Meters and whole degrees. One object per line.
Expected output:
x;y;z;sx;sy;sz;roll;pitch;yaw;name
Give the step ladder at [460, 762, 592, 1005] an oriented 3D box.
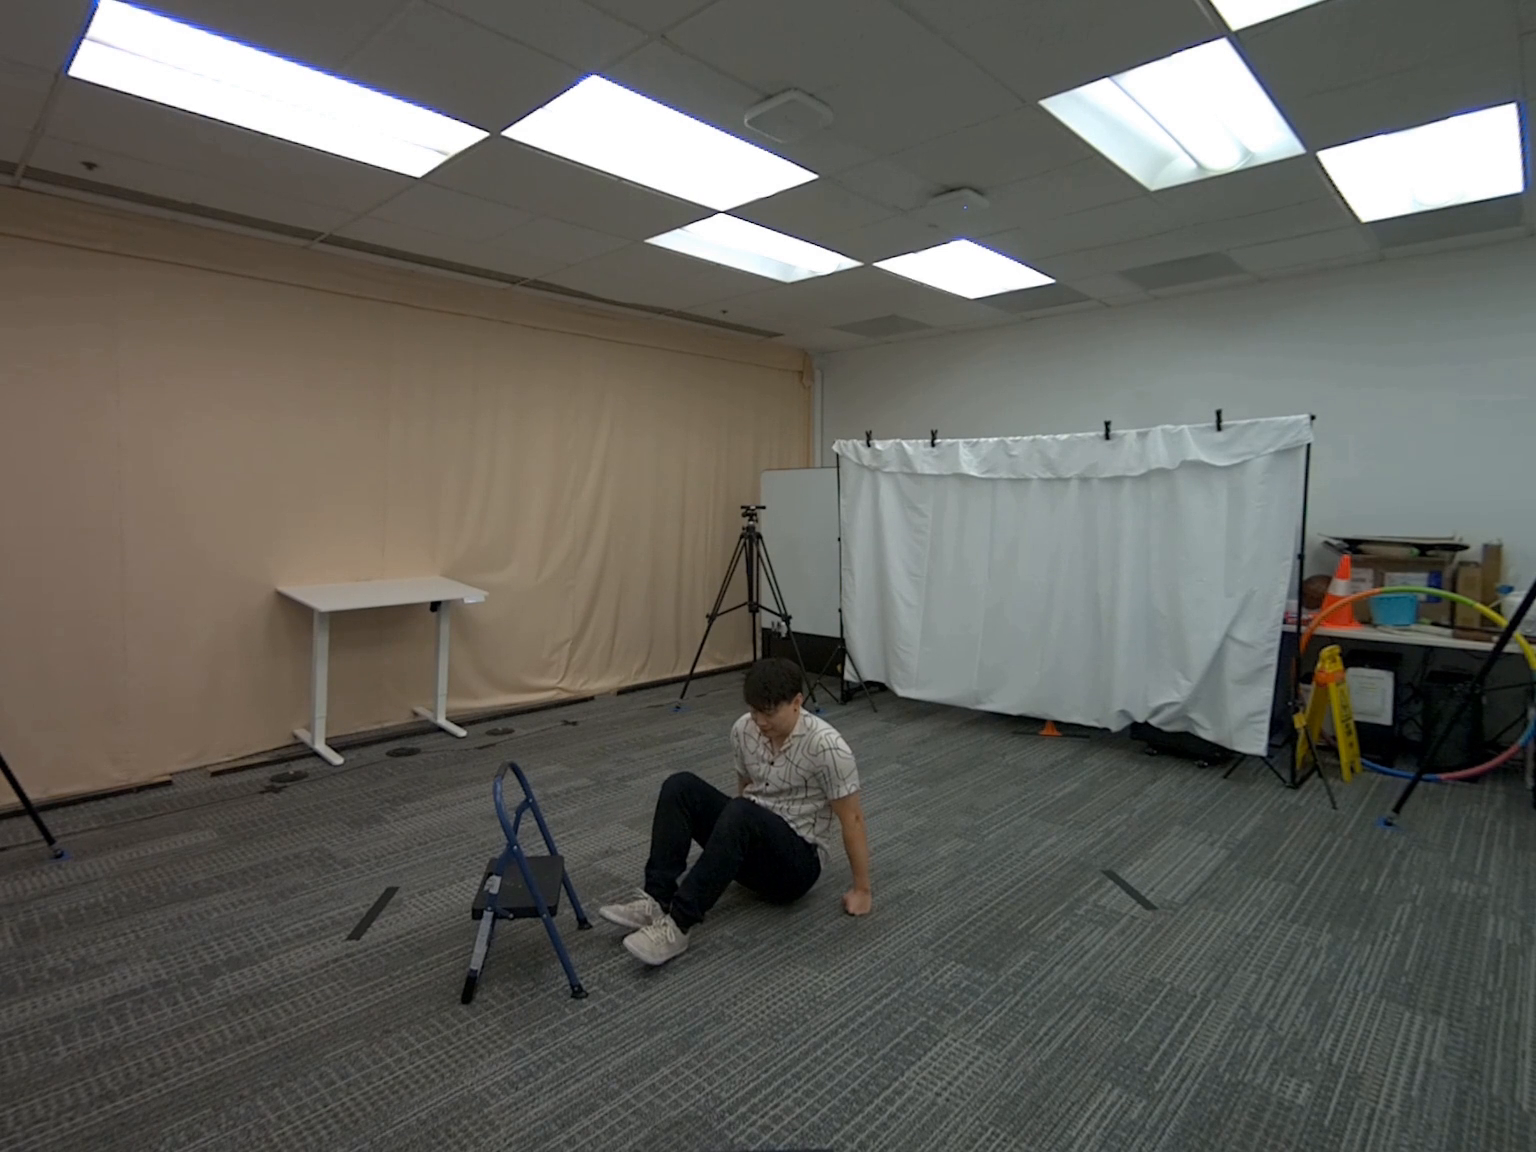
-0.728;0.886;2.555;0.346;0.605;0.435;-1;3;-9;step ladder
